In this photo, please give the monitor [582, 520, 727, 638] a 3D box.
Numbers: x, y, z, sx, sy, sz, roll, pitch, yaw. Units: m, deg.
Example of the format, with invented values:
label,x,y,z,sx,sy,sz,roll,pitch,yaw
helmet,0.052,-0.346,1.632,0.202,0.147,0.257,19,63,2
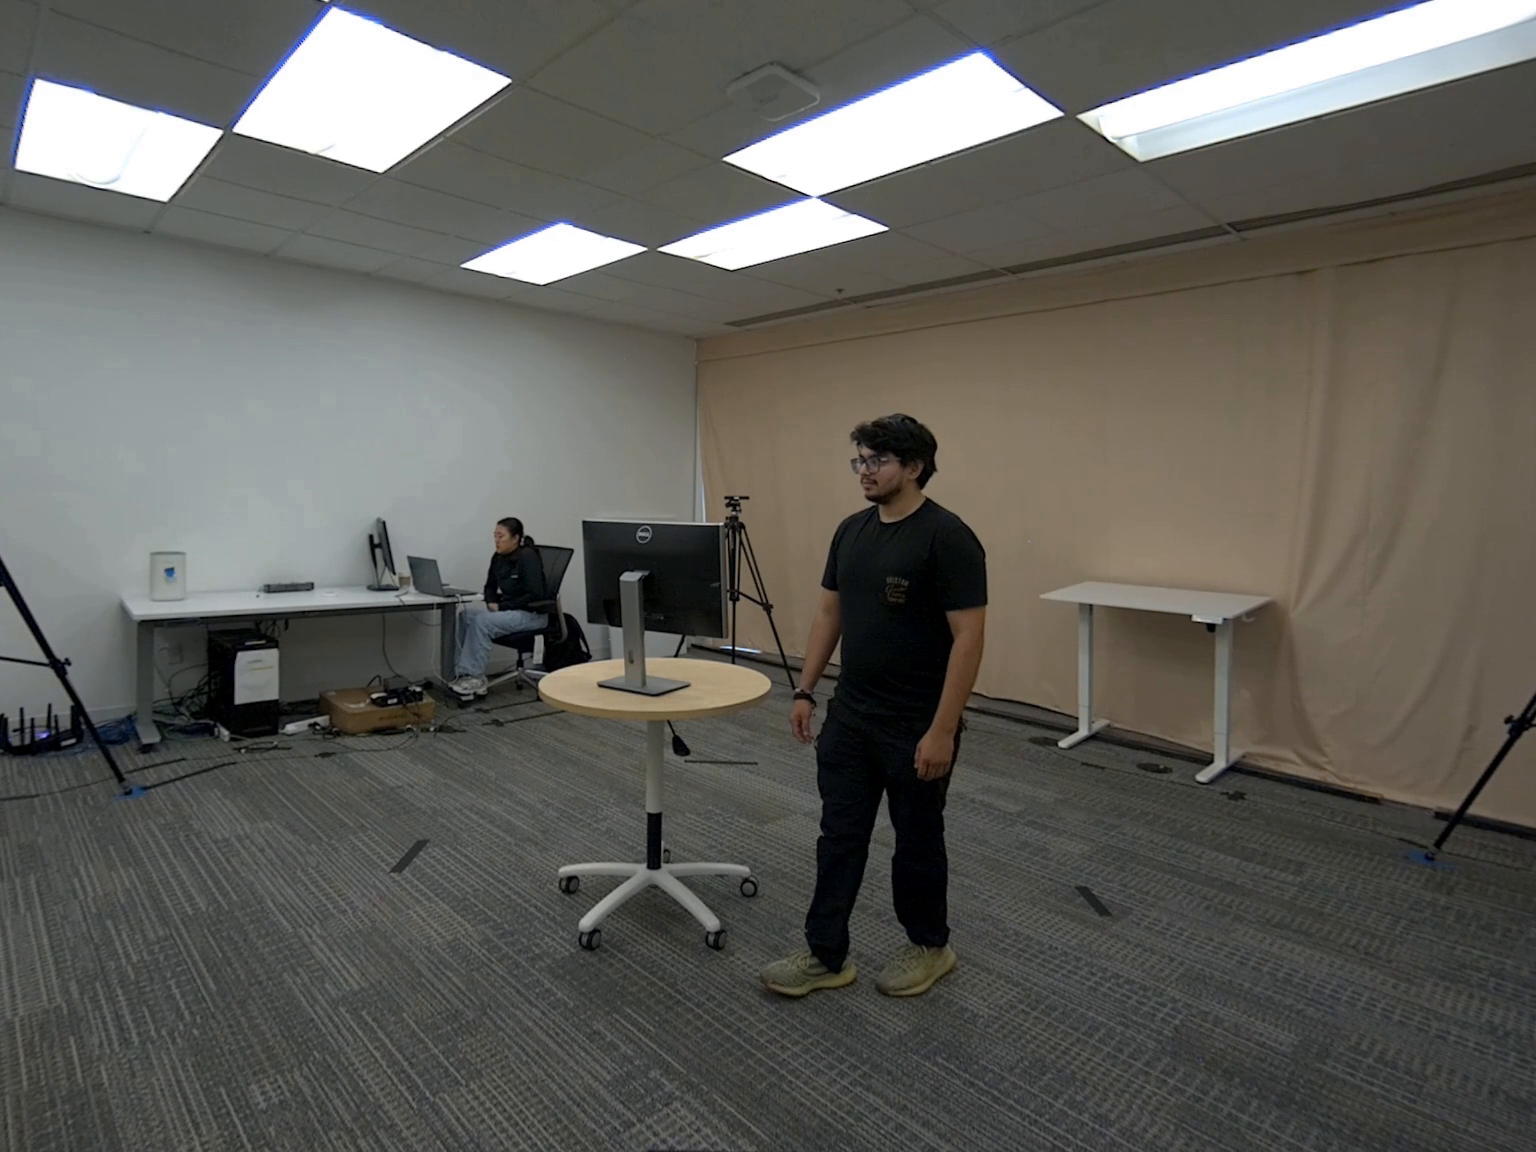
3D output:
label,x,y,z,sx,sy,sz,roll,pitch,yaw
monitor,-0.416,0.099,2.685,0.578,0.551,0.206,4,7,31
